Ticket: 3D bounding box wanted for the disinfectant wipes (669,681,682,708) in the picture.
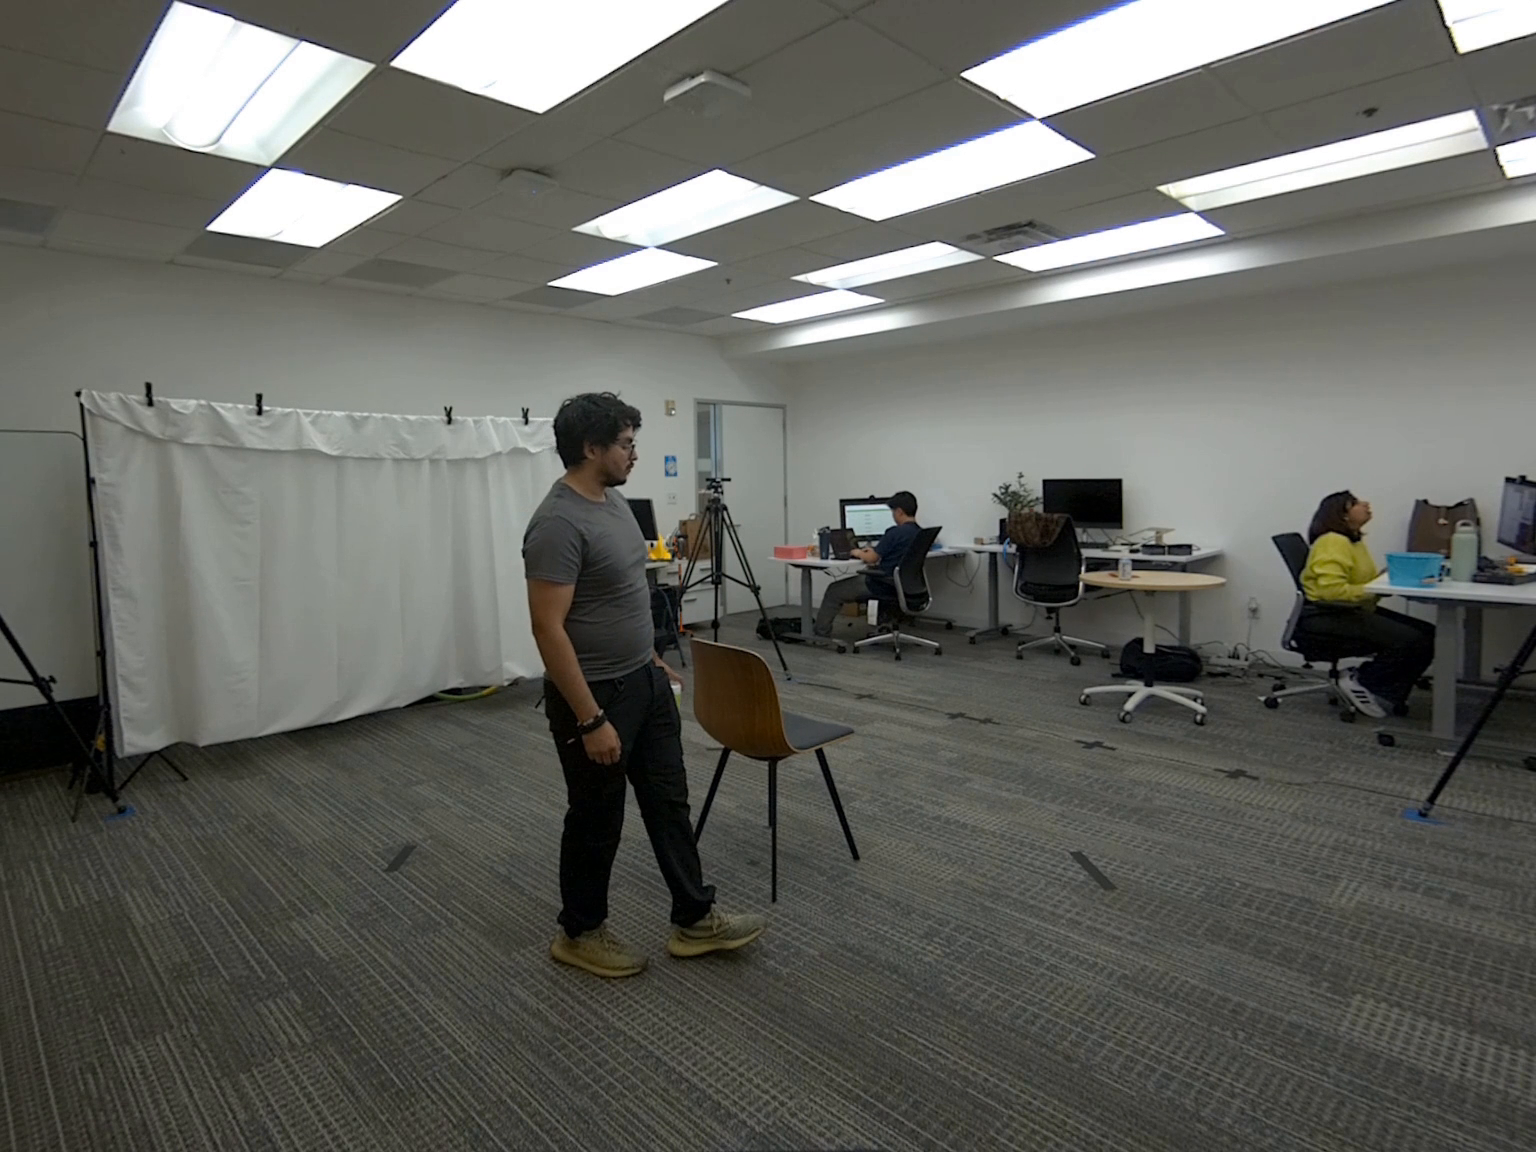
[{"bbox_3d":[-0.329,0.448,2.689,0.118,0.217,0.118,2,1,-2],"label":"disinfectant wipes"}]
